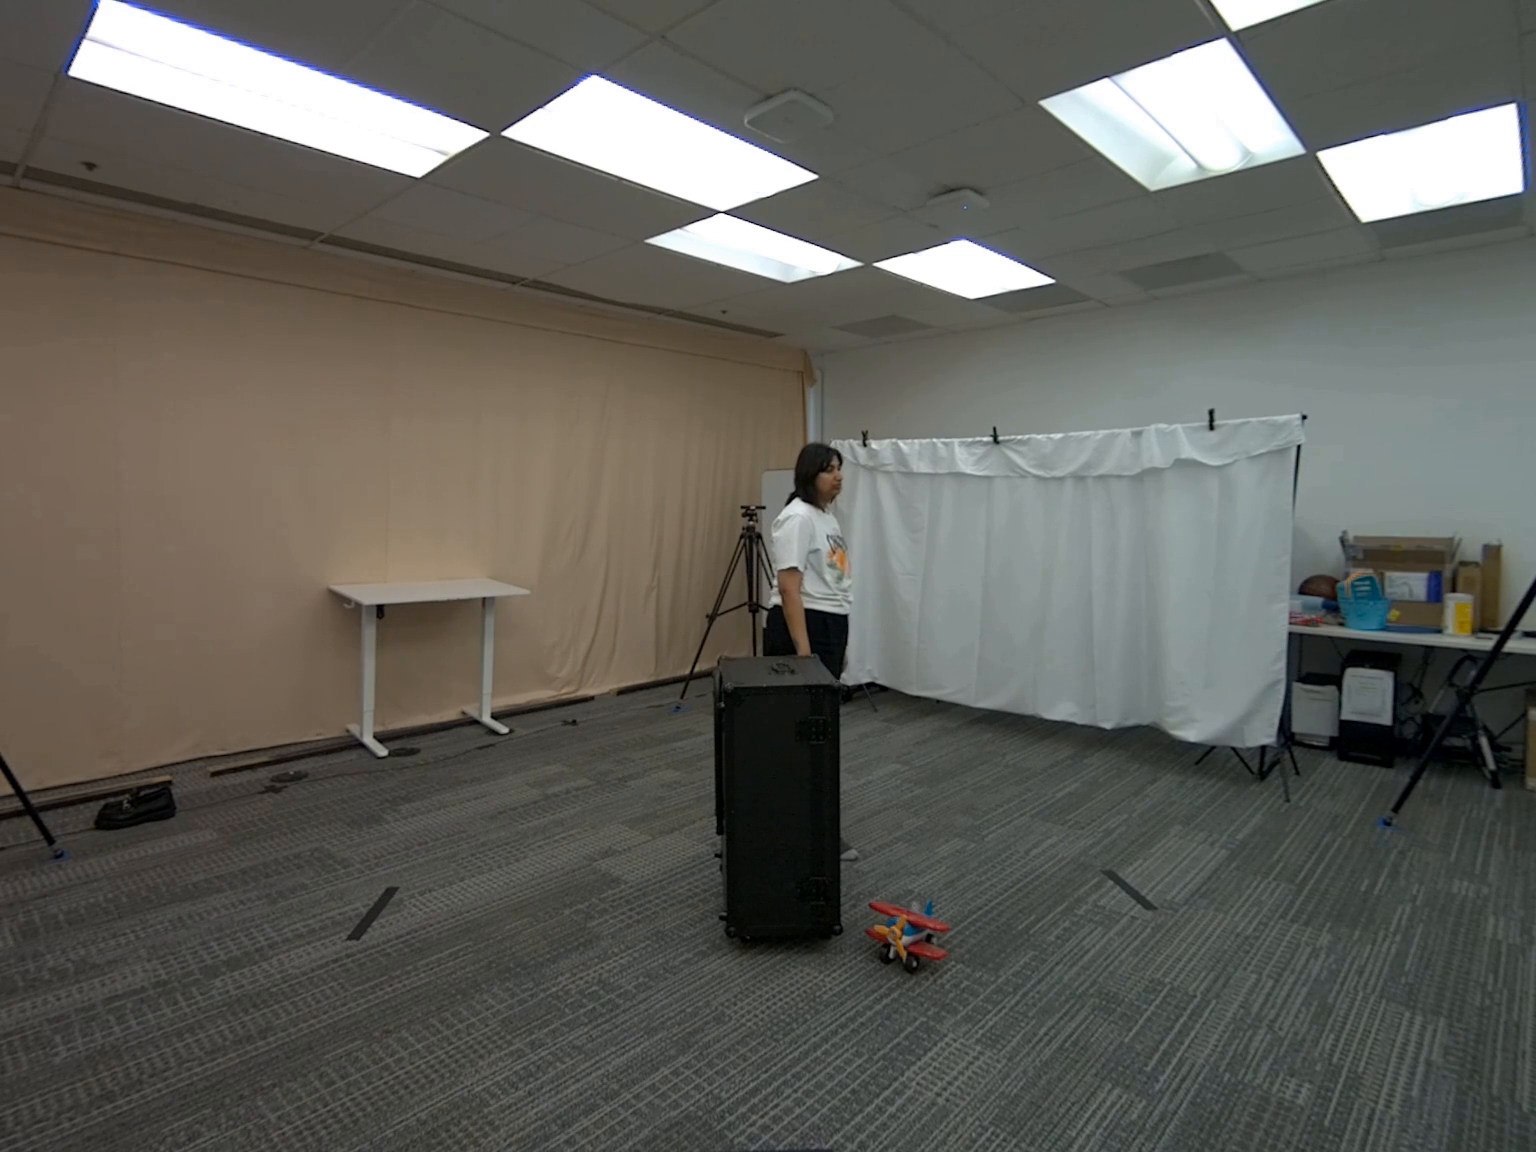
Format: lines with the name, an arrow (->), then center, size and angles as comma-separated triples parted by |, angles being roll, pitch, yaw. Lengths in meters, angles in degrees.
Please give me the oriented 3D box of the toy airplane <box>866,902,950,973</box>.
toy airplane -> 0.435, 1.100, 2.608 | 0.254, 0.156, 0.257 | 2, 6, 10
